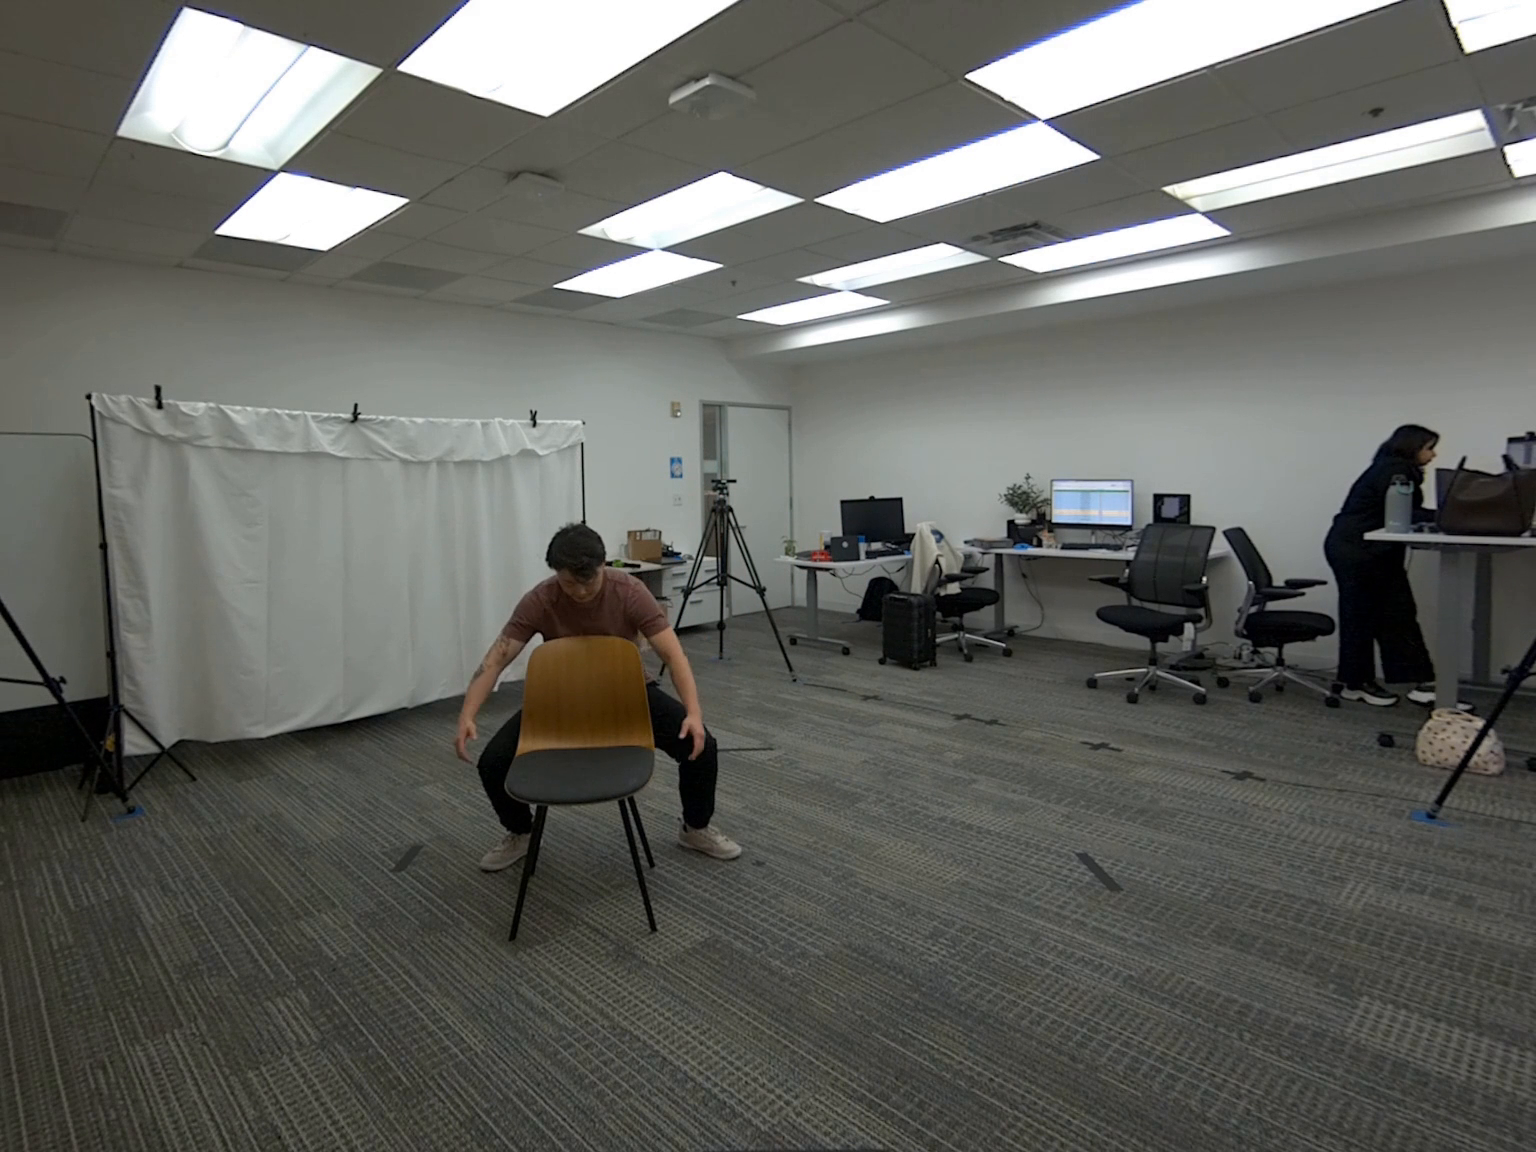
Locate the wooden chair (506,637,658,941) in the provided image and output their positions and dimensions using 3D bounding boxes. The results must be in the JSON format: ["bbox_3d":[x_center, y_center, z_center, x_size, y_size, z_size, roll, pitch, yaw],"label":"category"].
[{"bbox_3d":[-0.602,0.666,2.809,0.475,0.878,0.526,-1,0,-7],"label":"wooden chair"}]
